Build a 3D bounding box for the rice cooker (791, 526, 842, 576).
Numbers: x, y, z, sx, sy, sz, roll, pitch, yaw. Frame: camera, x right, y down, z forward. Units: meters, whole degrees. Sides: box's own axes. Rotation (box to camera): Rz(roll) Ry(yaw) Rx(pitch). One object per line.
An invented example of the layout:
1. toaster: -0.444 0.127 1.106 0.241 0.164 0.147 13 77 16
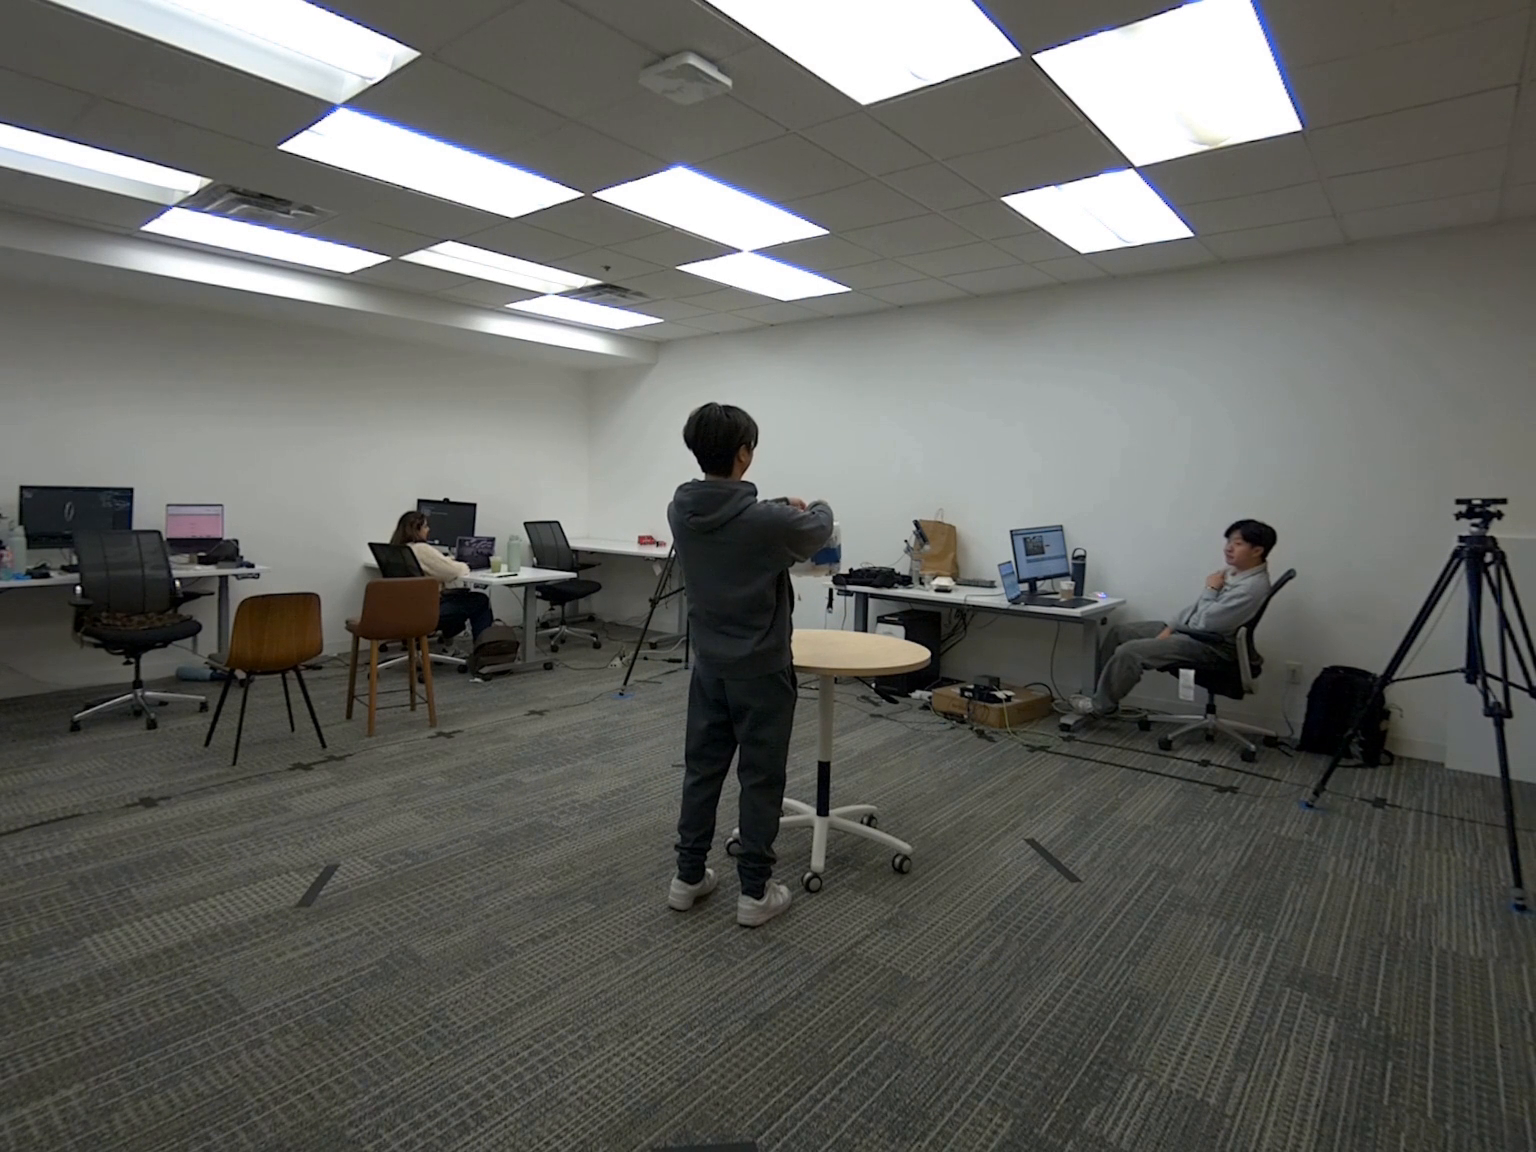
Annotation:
1. rice cooker: 0.159 -0.123 3.192 0.219 0.232 0.220 -1 6 8
